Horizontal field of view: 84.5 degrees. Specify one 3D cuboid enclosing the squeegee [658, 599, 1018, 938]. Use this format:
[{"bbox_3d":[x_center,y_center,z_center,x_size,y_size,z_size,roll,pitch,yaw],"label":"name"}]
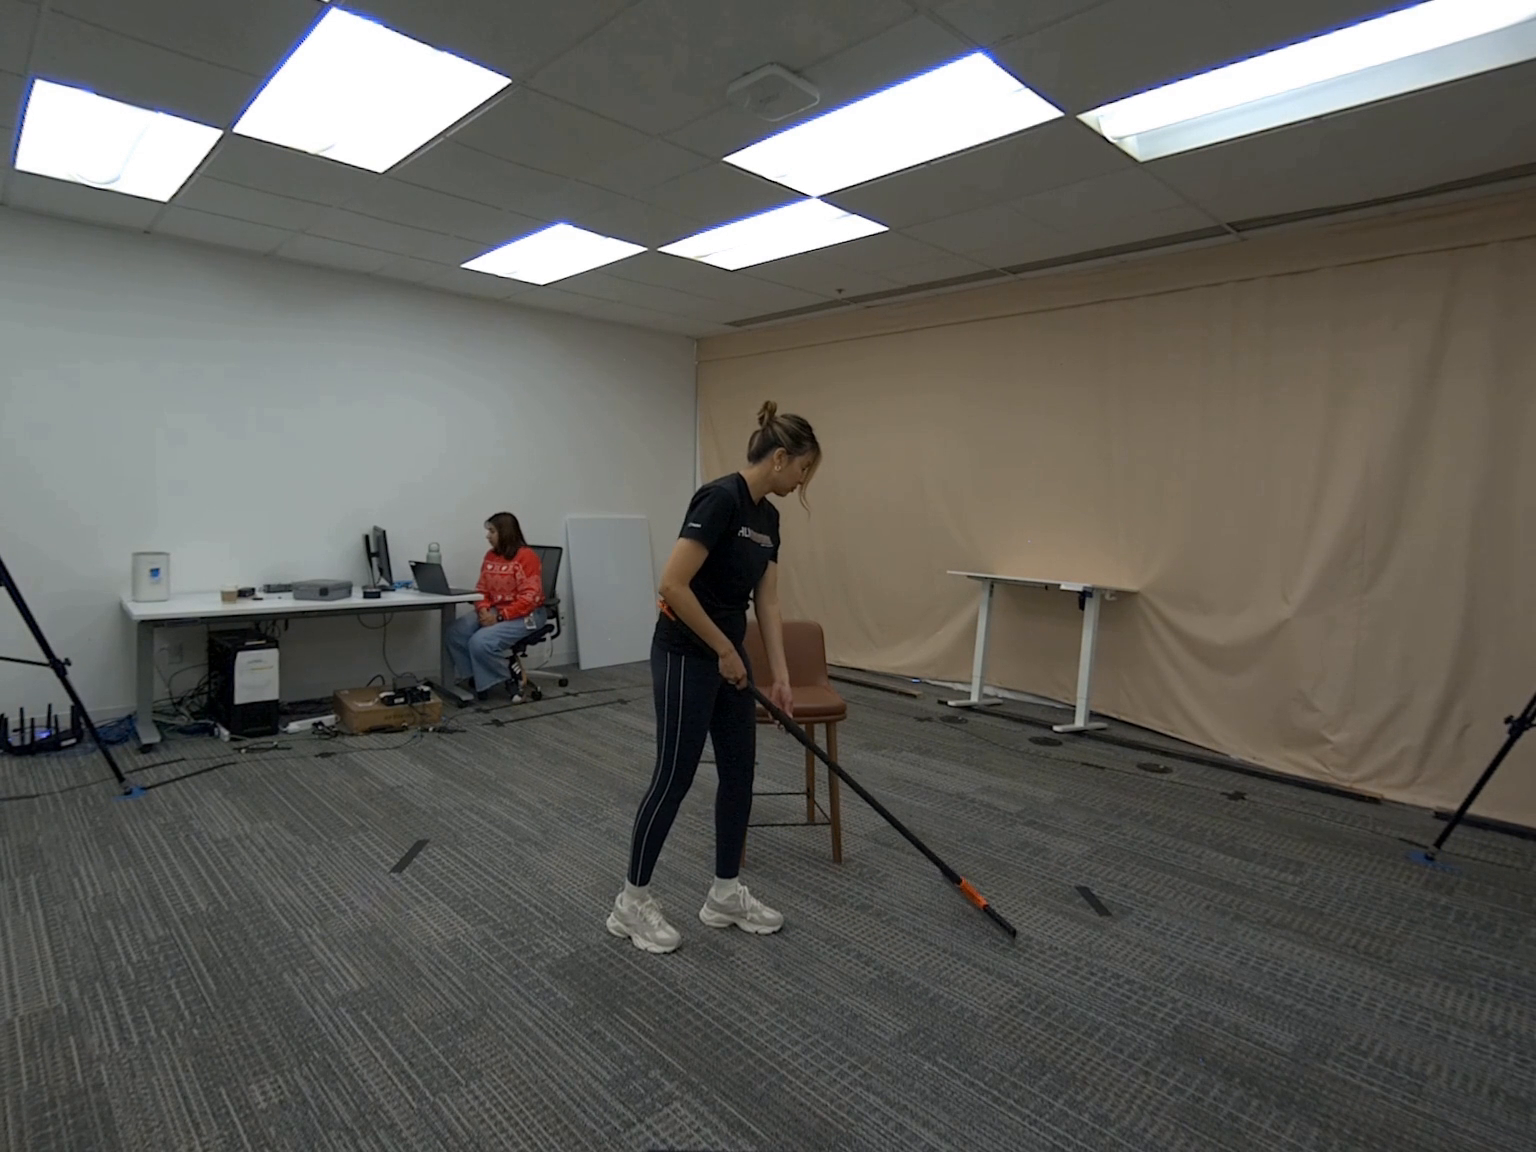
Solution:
[{"bbox_3d":[0.208,0.583,2.615,1.509,0.053,0.445,45,-9,-18],"label":"squeegee"}]
